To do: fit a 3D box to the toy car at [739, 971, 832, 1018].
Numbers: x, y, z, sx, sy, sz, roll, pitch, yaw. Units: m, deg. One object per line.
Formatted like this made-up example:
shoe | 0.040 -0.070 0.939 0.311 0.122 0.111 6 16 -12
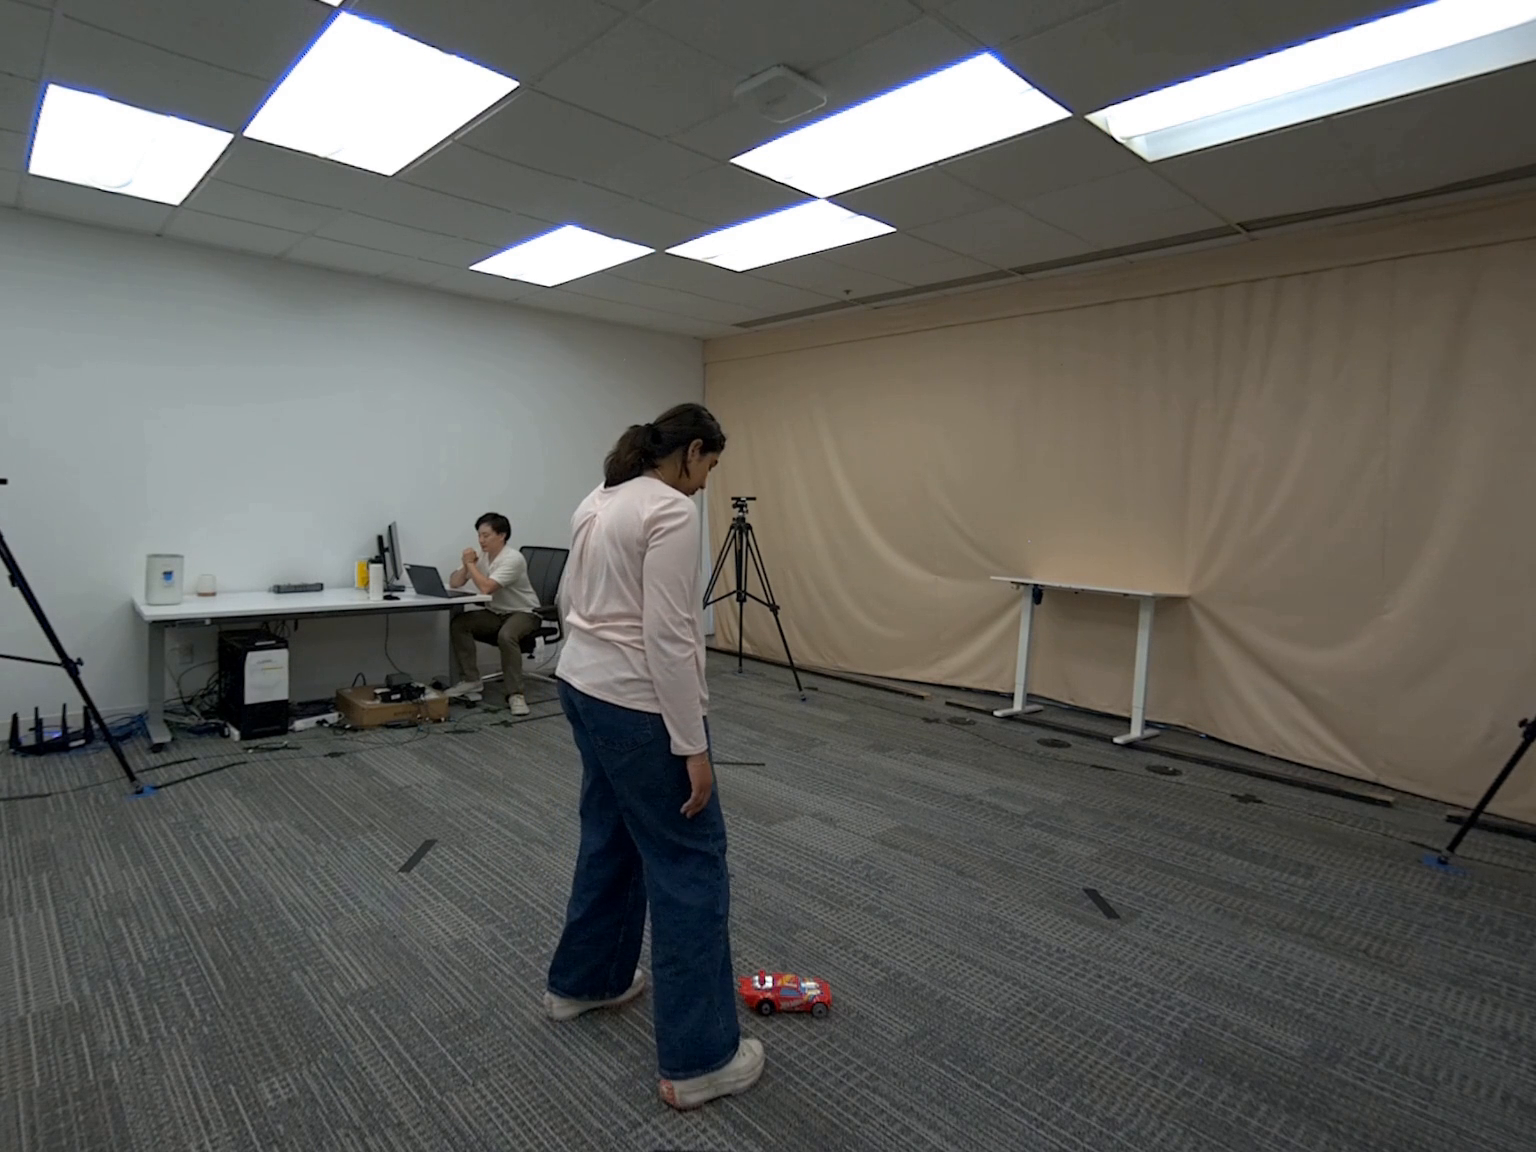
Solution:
toy car | 0.039 1.156 2.311 0.254 0.083 0.130 13 3 0
